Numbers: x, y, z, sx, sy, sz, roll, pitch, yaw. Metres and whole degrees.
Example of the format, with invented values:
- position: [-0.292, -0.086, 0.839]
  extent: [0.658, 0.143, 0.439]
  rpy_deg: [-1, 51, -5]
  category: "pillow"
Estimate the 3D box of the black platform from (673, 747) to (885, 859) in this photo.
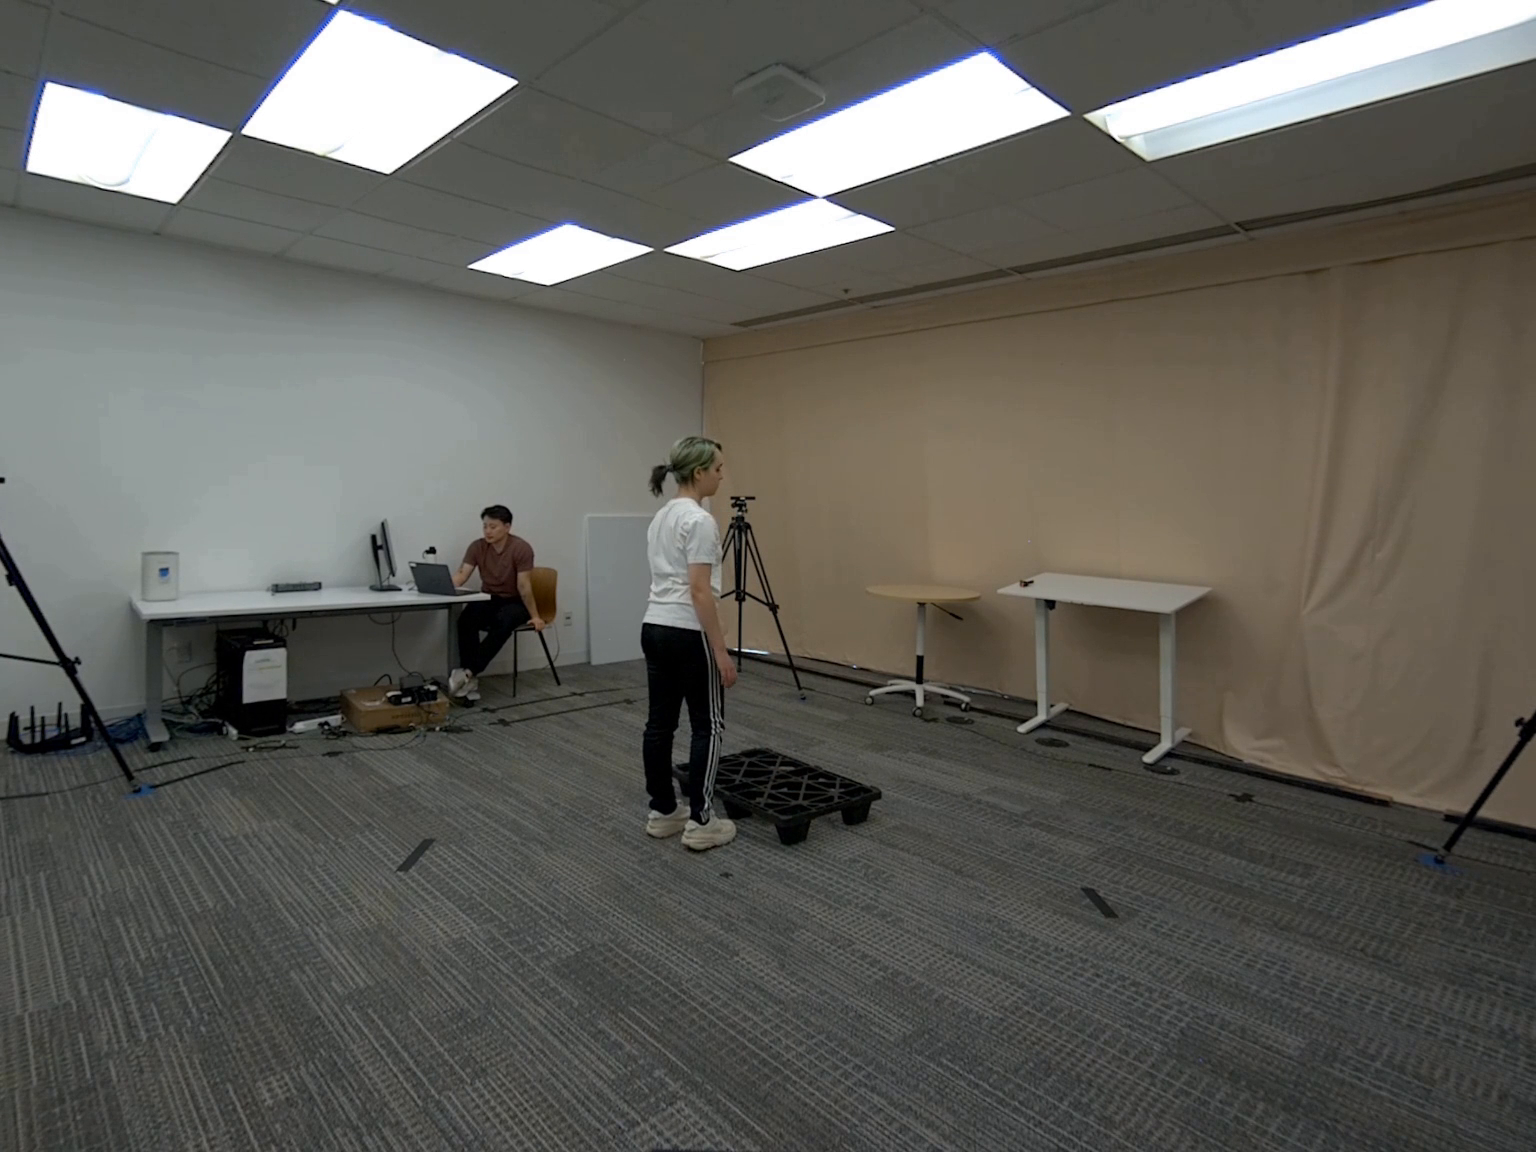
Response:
- position: [0.008, 0.985, 3.799]
  extent: [0.591, 0.143, 0.826]
  rpy_deg: [-3, 6, -41]
  category: "black platform"
